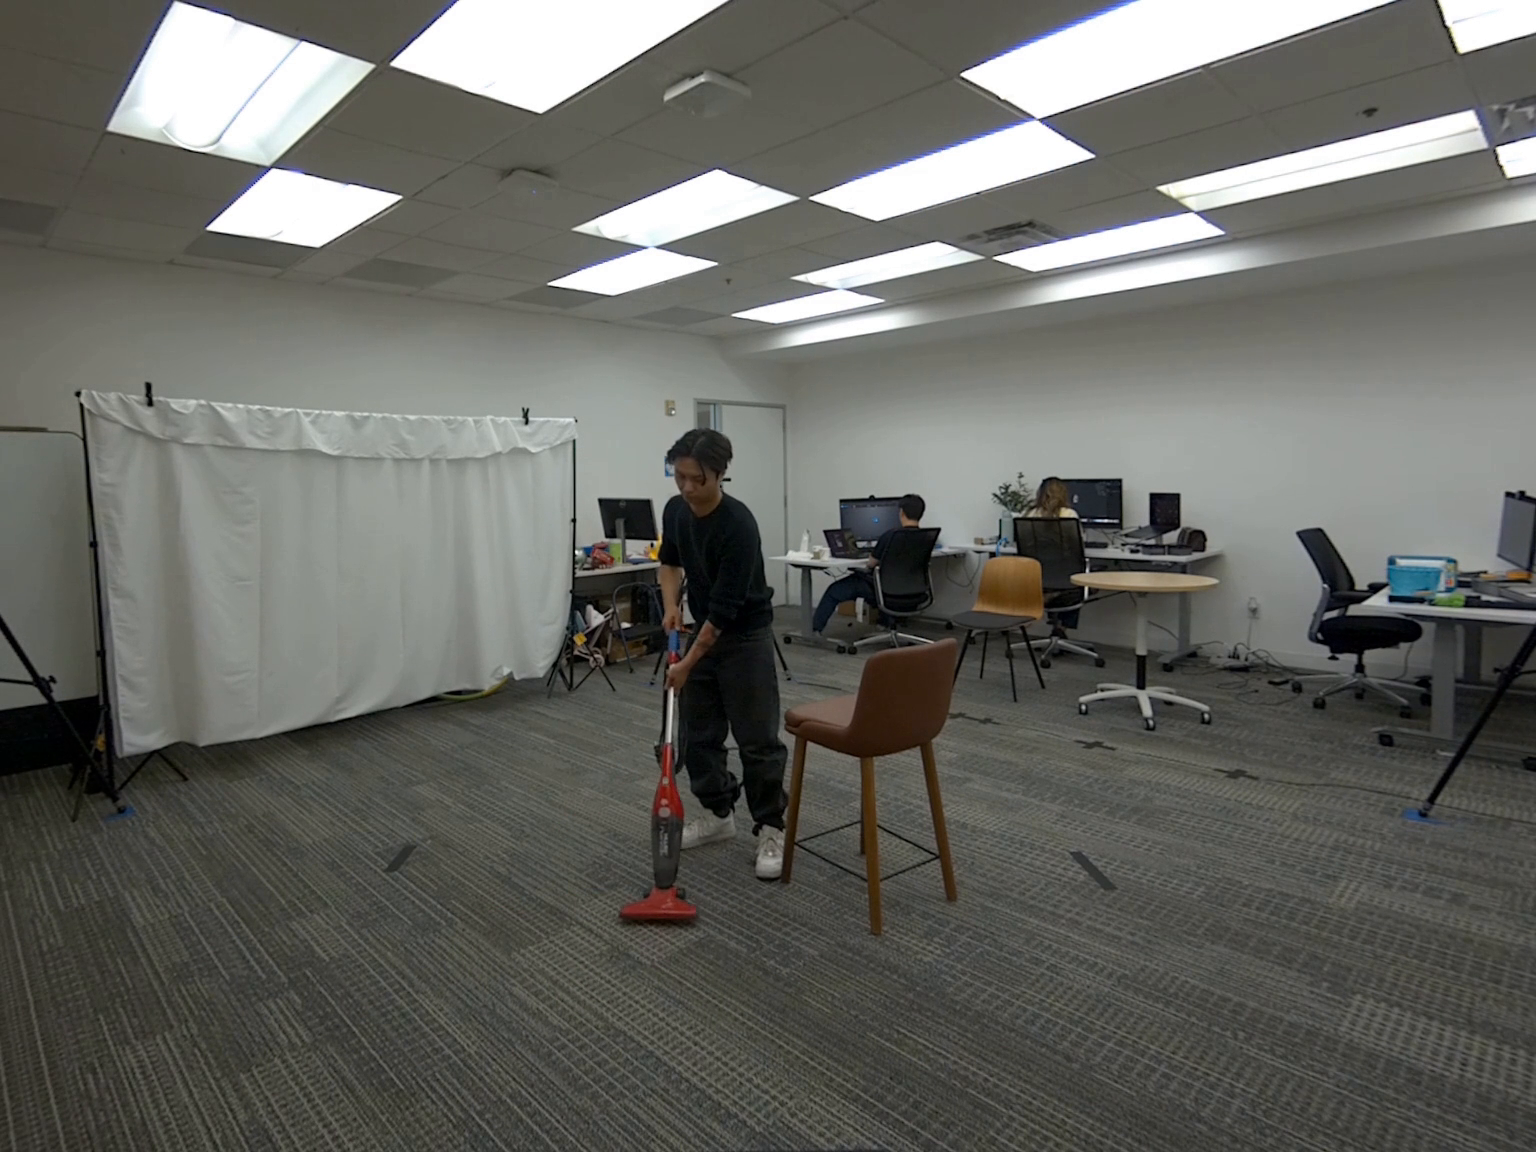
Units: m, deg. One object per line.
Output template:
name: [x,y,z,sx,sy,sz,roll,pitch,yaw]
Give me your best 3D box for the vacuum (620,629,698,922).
vacuum: [-0.338,0.621,3.004,0.254,1.074,0.140,-3,-31,6]
